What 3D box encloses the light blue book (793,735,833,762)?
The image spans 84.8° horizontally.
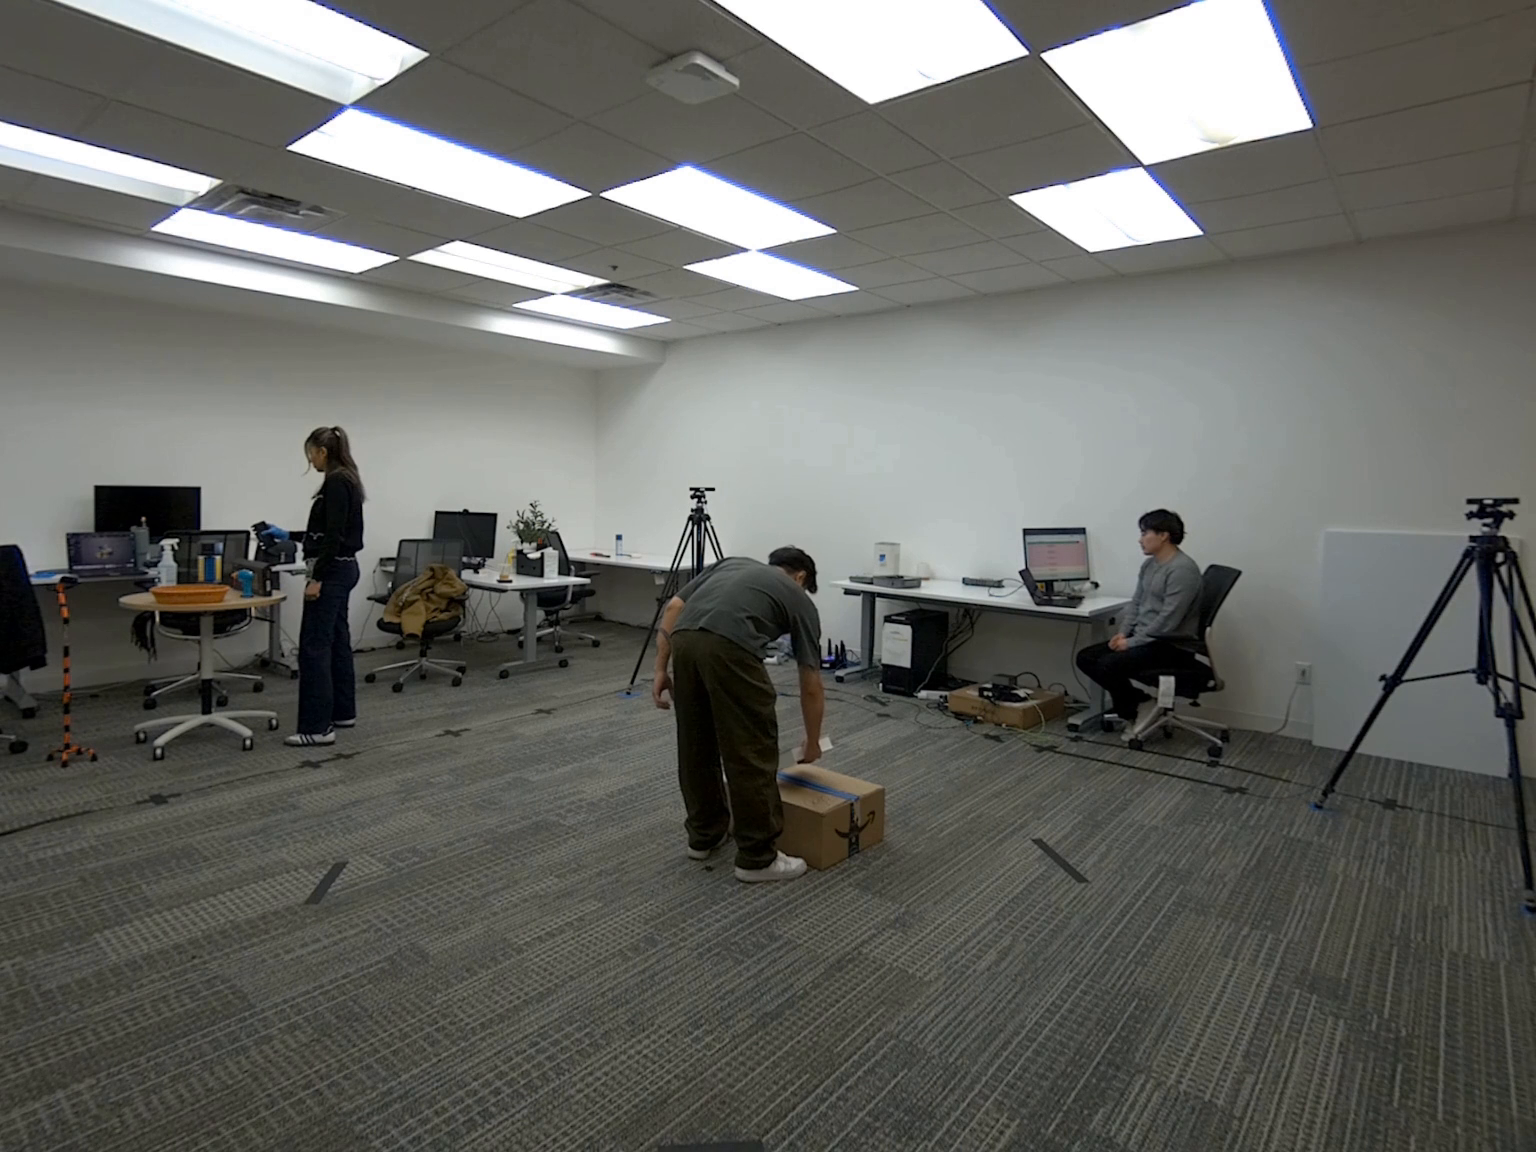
[{"bbox_3d":[0.113,0.718,3.434,0.193,0.060,0.253,-35,-19,37],"label":"light blue book"}]
